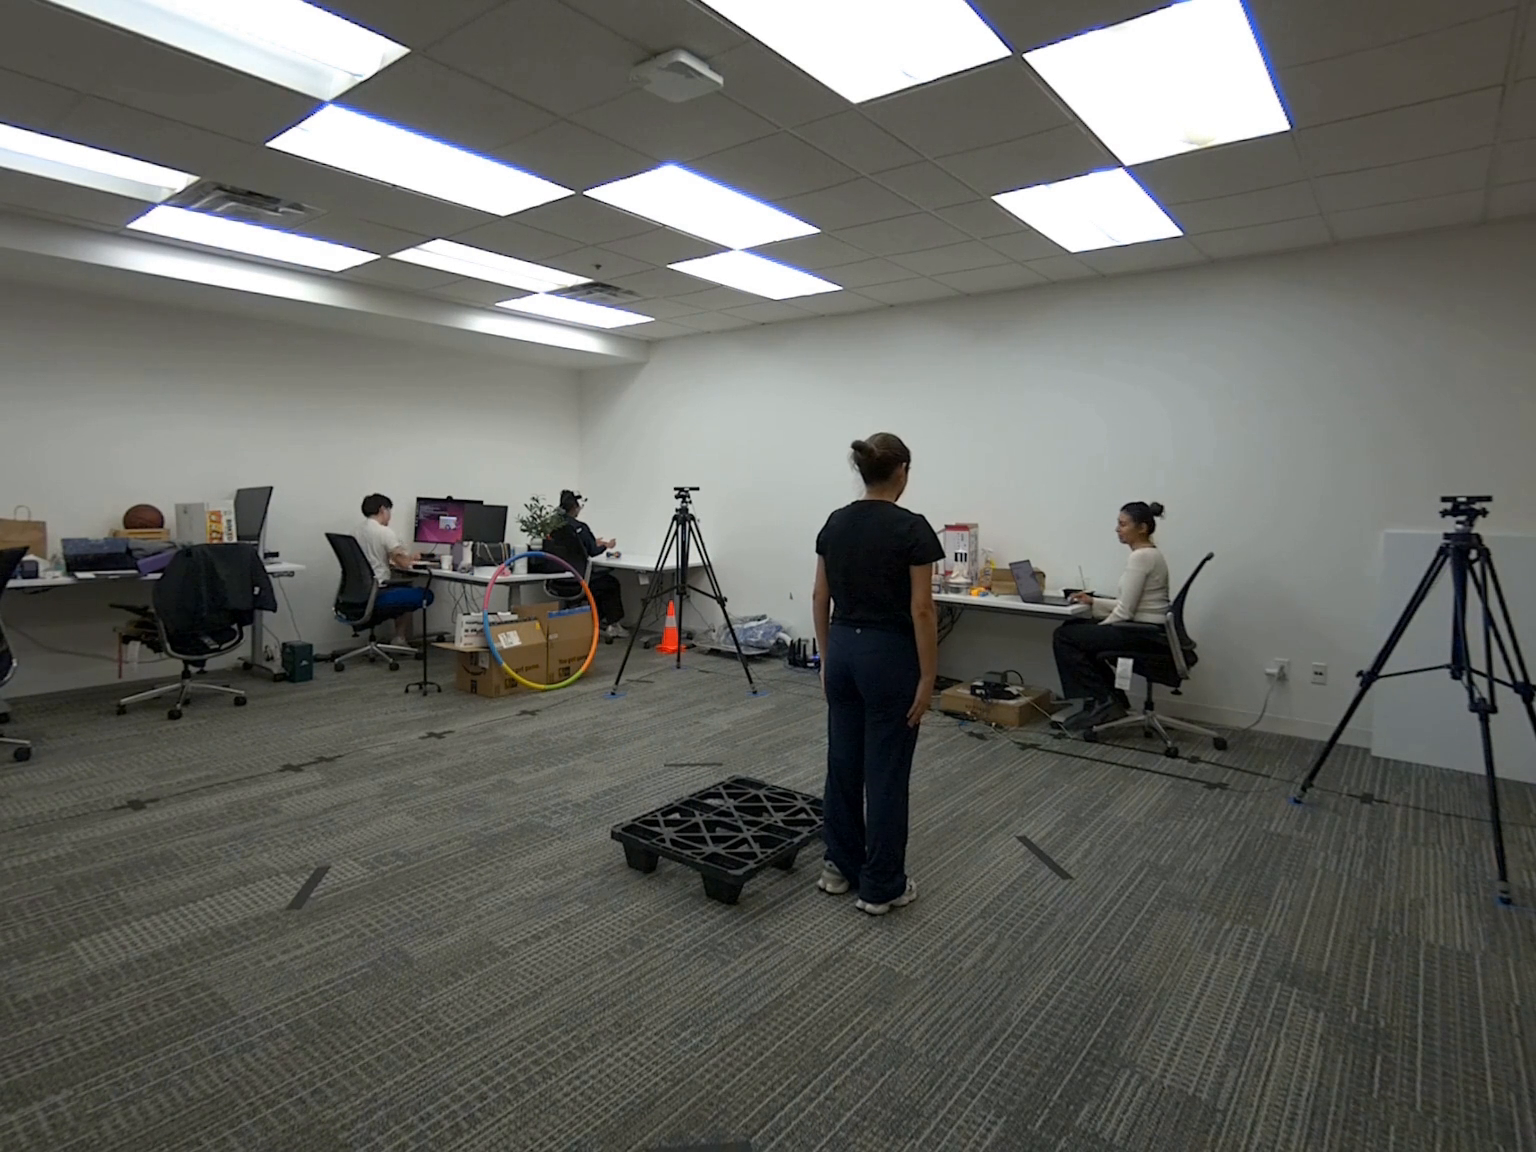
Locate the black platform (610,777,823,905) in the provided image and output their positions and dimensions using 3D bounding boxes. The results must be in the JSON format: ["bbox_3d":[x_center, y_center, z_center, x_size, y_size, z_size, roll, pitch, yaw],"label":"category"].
[{"bbox_3d":[-0.096,0.986,3.270,0.625,0.143,0.783,5,7,36],"label":"black platform"}]
